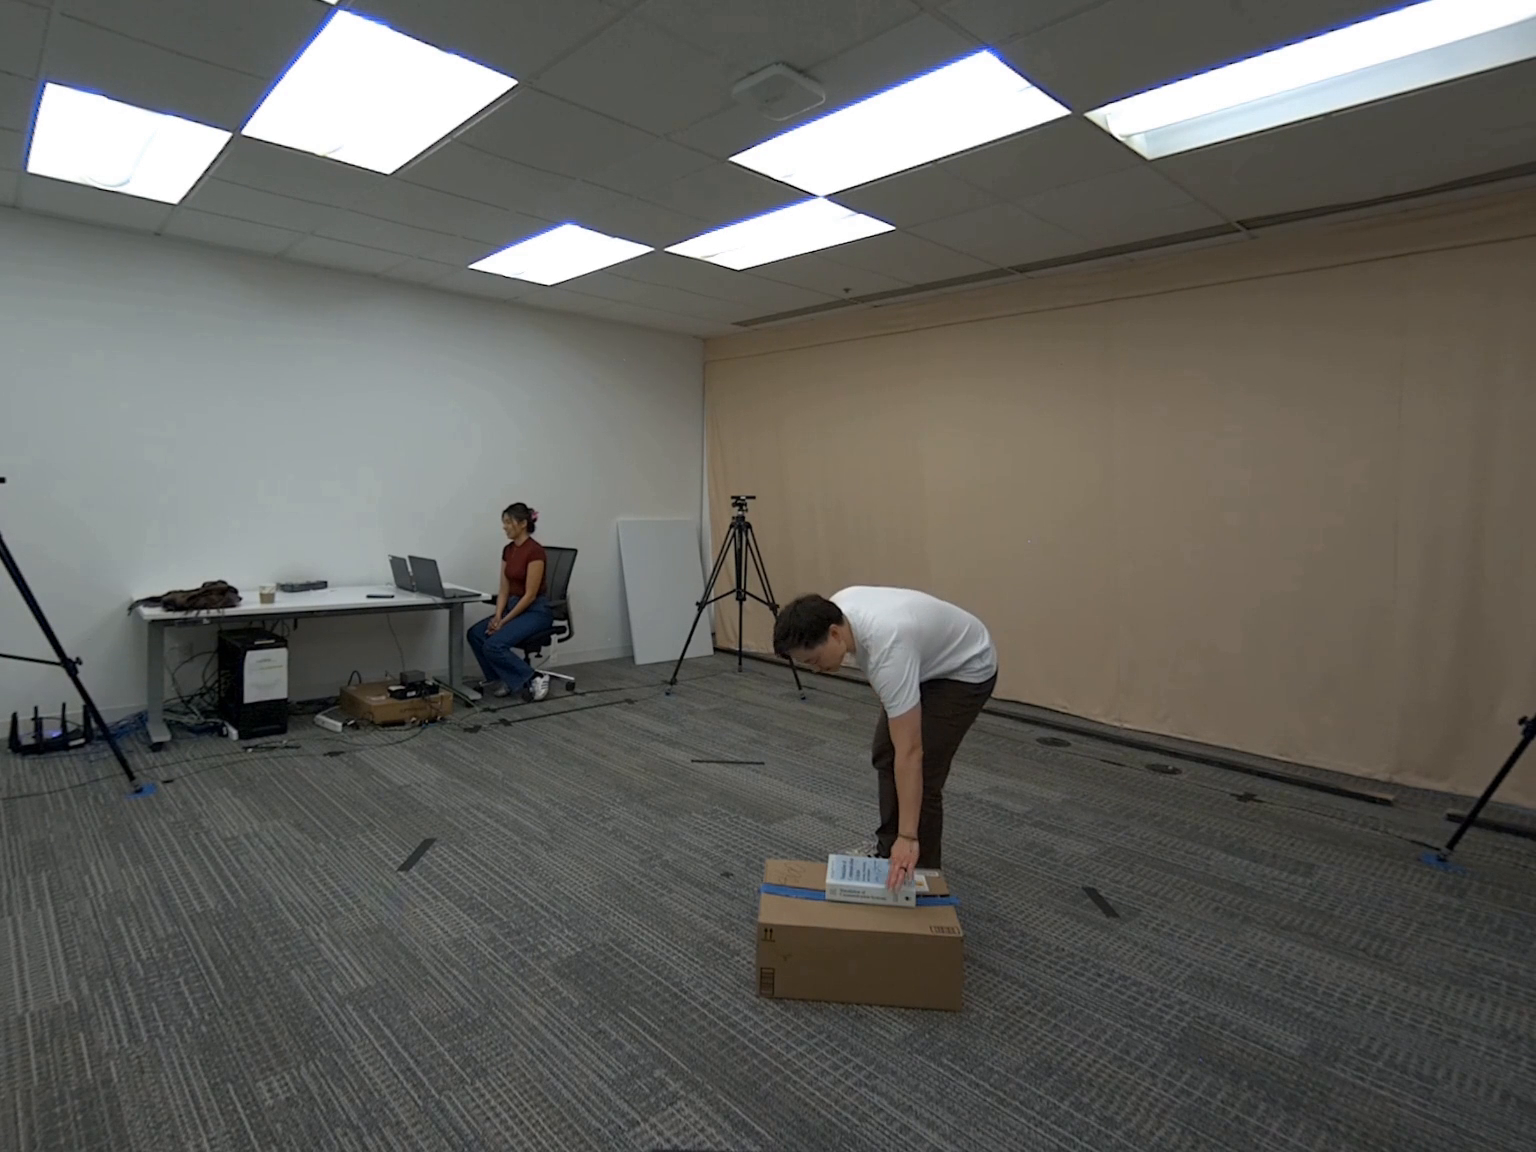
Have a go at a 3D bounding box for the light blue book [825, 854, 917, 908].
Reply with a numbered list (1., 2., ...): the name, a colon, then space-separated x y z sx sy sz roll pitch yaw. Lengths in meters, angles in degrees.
1. light blue book: 0.307 0.931 2.553 0.263 0.059 0.191 2 6 9
